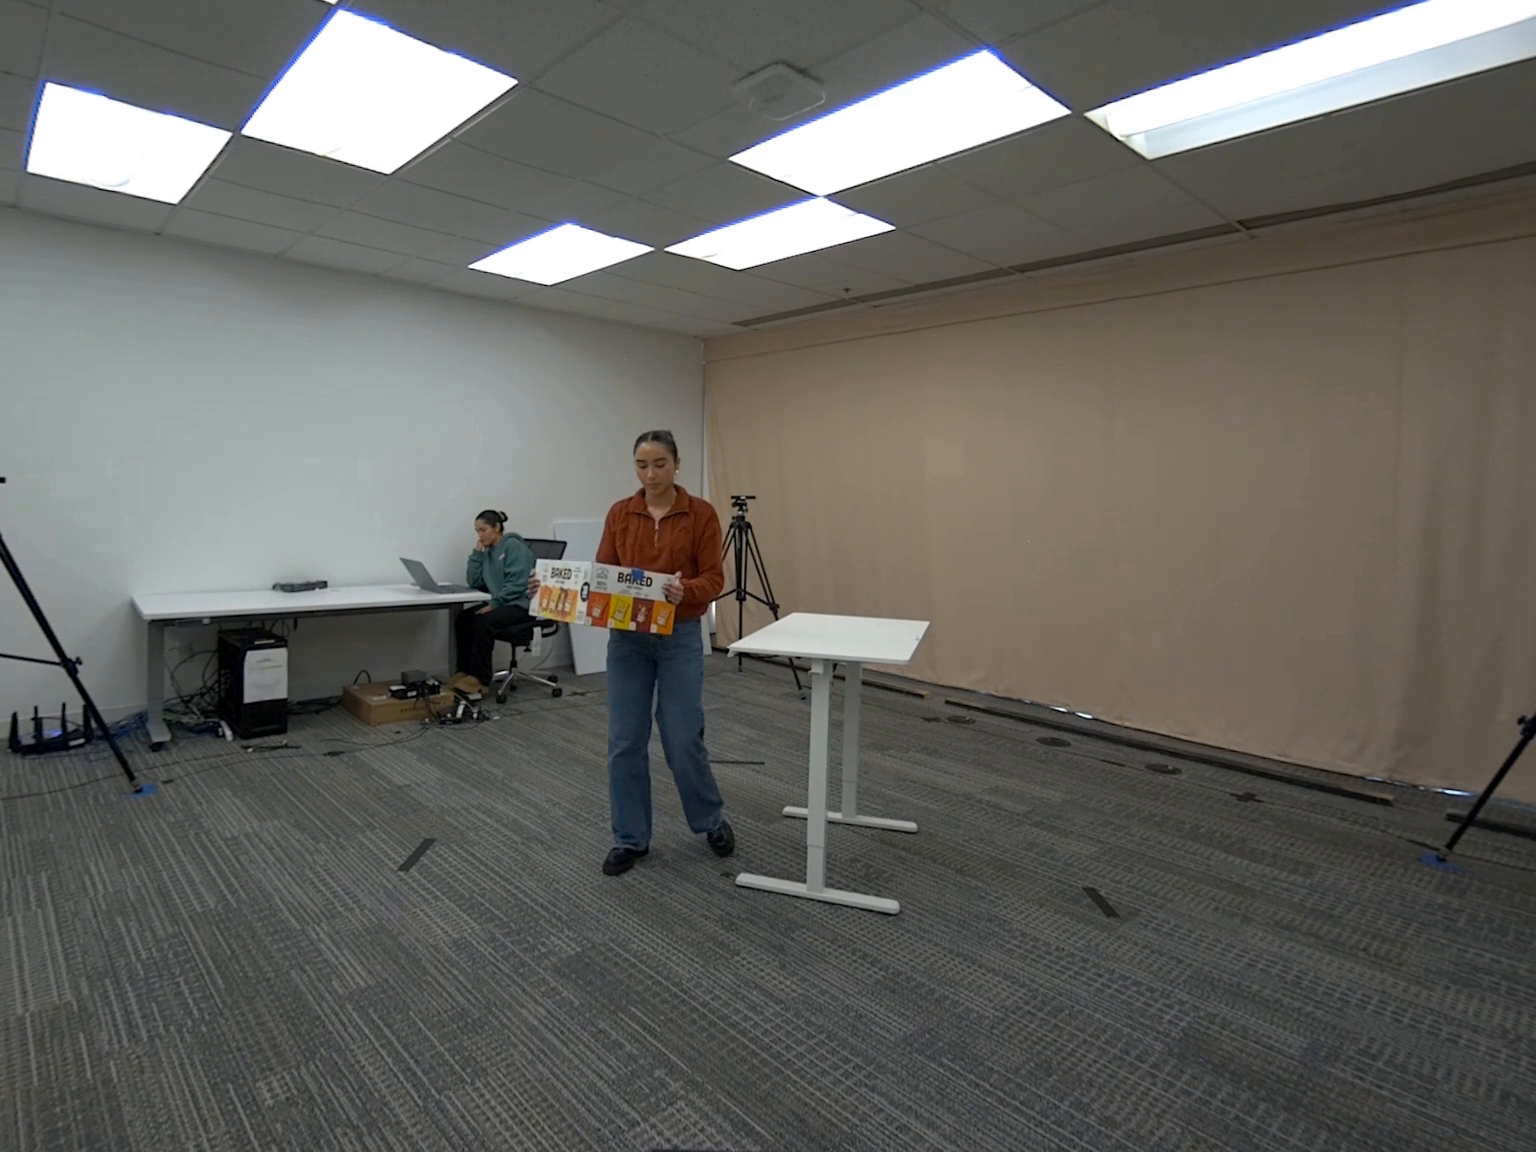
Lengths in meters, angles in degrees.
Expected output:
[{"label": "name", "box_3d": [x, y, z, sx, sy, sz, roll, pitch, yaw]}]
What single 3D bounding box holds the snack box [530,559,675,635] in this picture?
[{"label": "snack box", "box_3d": [-0.580, 0.071, 2.918, 0.331, 0.206, 0.415, 10, -5, -40]}]
